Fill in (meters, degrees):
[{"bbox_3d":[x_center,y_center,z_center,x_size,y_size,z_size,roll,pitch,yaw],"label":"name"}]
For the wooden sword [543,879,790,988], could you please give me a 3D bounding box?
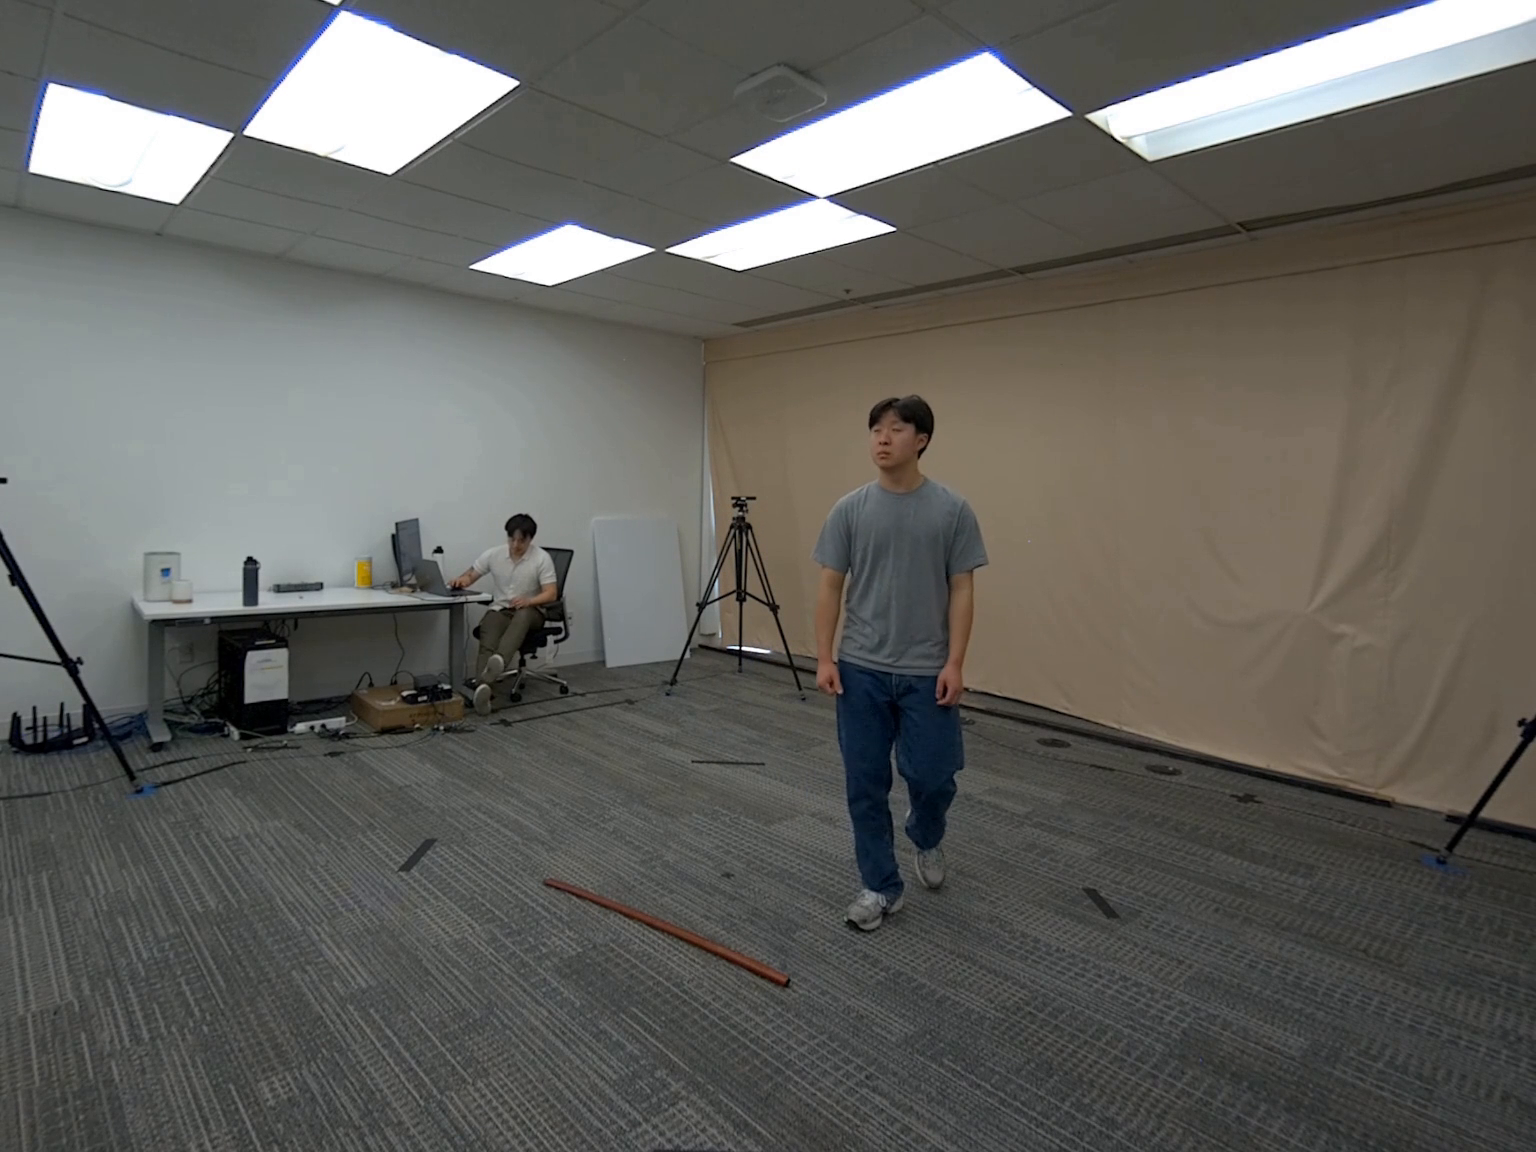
[{"bbox_3d":[-0.370,1.106,2.726,1.050,0.024,0.050,5,-15,36],"label":"wooden sword"}]
